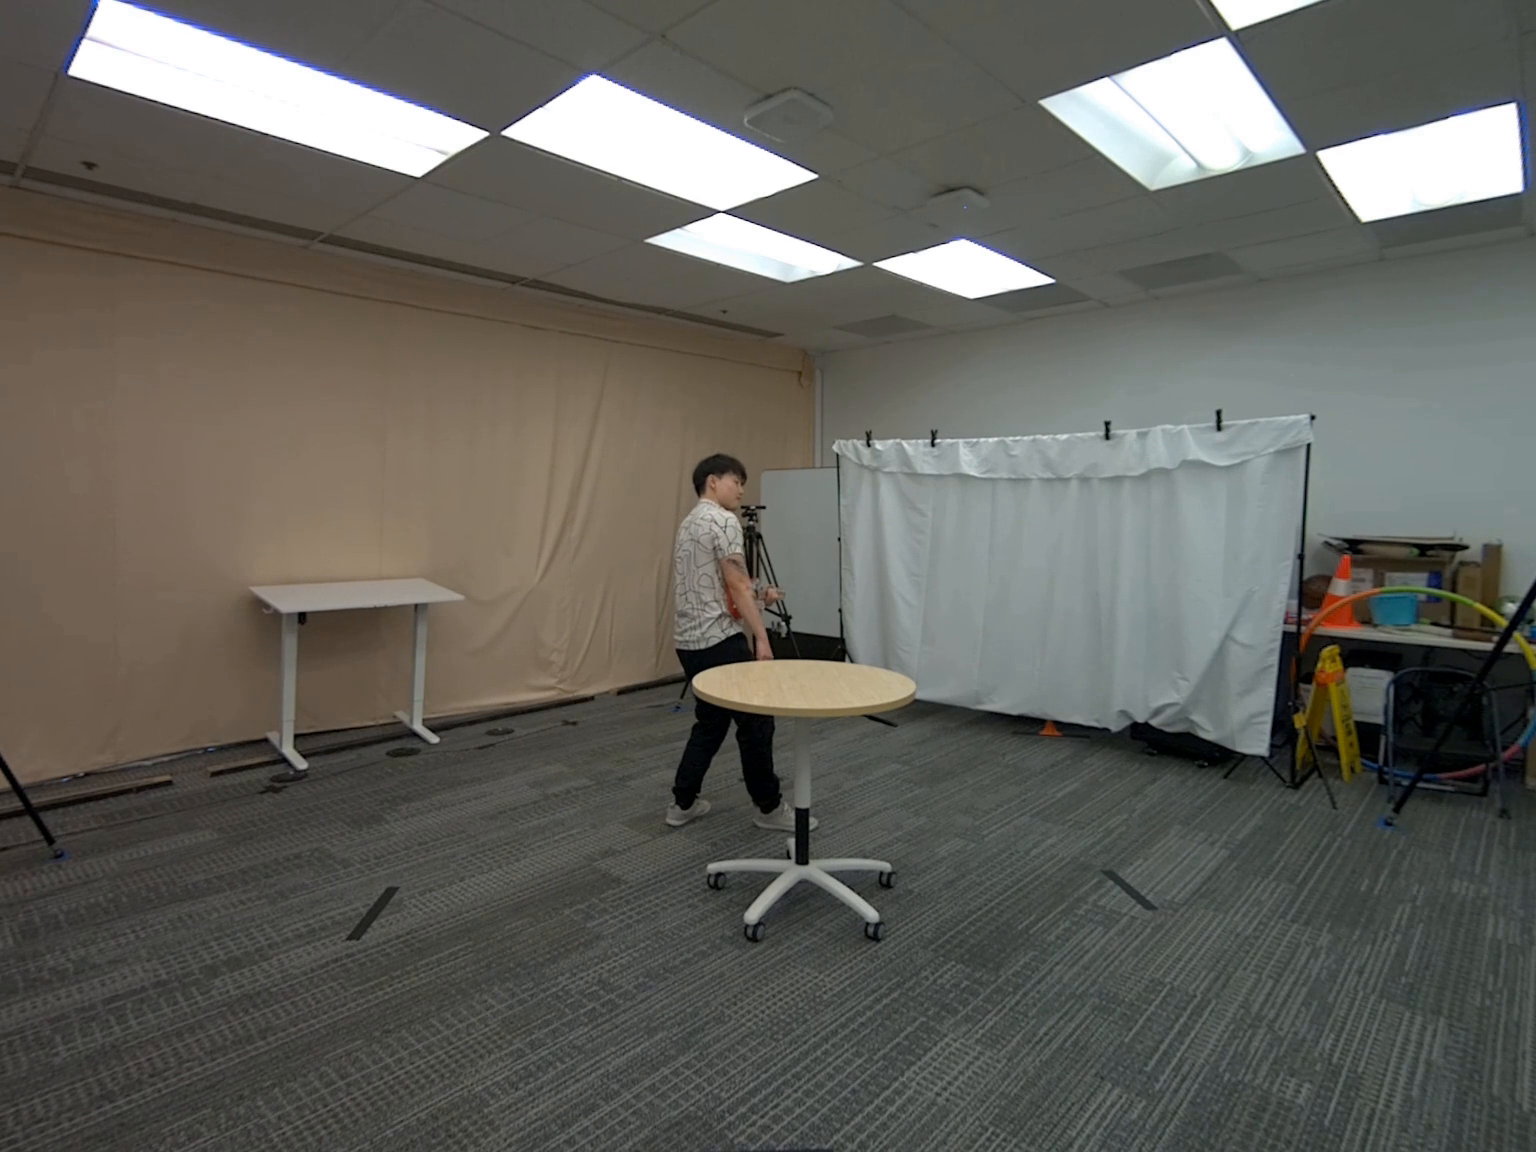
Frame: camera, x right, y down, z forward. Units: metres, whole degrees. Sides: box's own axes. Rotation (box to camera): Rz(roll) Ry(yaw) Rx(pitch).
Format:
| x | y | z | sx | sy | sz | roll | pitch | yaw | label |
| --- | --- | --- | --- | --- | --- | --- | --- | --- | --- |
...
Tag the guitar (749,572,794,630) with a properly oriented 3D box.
| x | y | z | sx | sy | sz | roll | pitch | yaw | label |
| --- | --- | --- | --- | --- | --- | --- | --- | --- | --- |
| -0.035 | 0.111 | 3.740 | 0.072 | 0.195 | 0.482 | -14 | -15 | 24 | guitar |
